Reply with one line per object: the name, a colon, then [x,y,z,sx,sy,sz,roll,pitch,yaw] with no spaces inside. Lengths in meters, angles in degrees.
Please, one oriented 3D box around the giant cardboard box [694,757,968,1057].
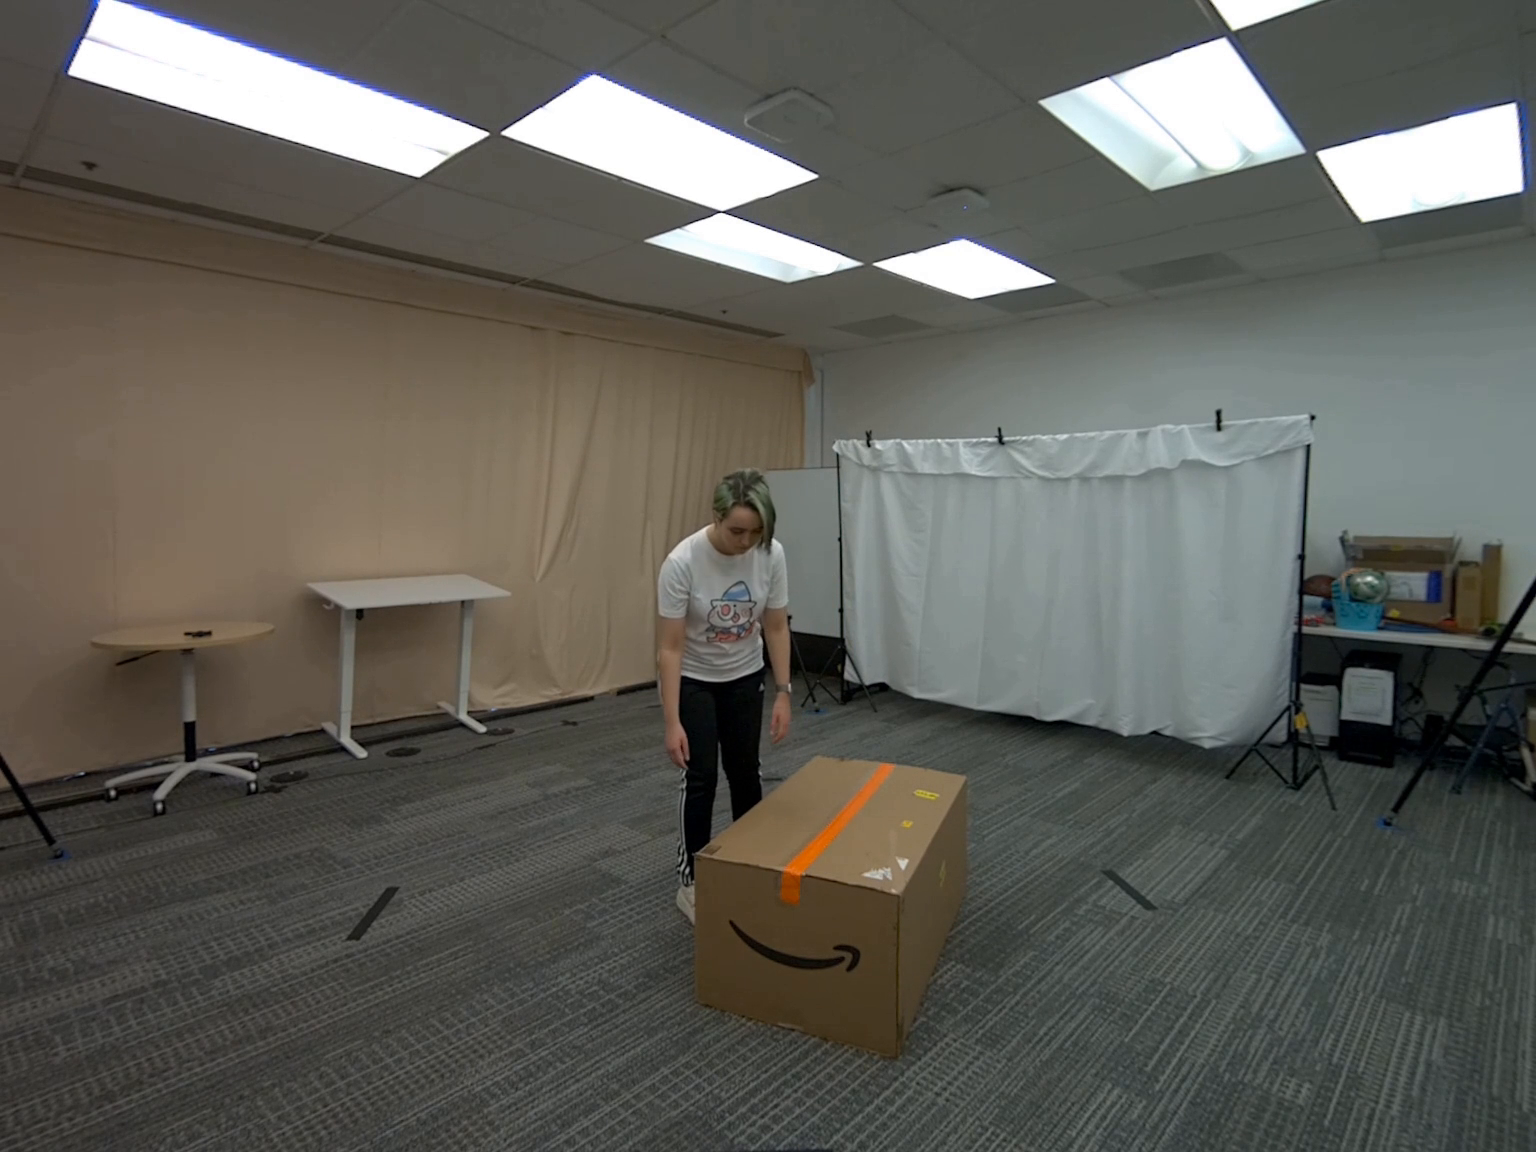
giant cardboard box: [0.259,0.952,2.682,0.592,0.425,1.004,2,5,23]
